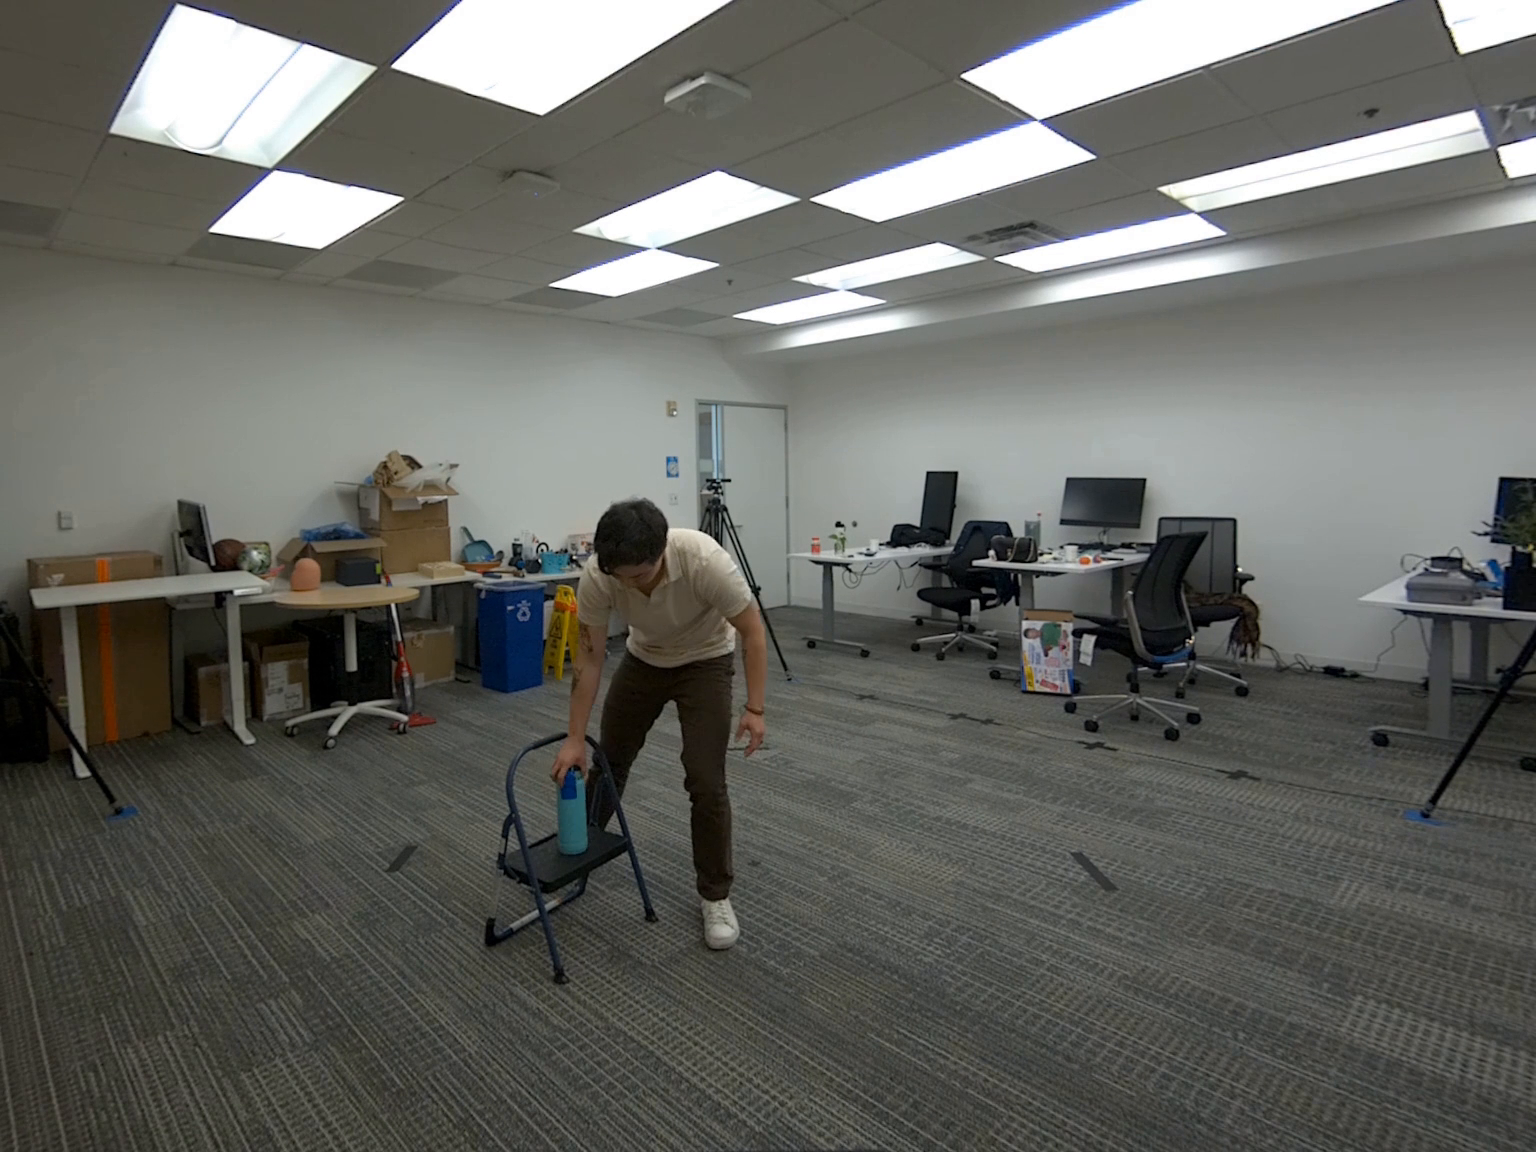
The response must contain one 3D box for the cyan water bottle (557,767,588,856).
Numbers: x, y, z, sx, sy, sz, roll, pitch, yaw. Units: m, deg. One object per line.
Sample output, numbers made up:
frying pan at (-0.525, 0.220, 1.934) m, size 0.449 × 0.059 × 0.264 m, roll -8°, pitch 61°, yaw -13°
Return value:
cyan water bottle at (-0.604, 0.698, 2.628) m, size 0.092 × 0.281 × 0.093 m, roll -1°, pitch 7°, yaw -1°
